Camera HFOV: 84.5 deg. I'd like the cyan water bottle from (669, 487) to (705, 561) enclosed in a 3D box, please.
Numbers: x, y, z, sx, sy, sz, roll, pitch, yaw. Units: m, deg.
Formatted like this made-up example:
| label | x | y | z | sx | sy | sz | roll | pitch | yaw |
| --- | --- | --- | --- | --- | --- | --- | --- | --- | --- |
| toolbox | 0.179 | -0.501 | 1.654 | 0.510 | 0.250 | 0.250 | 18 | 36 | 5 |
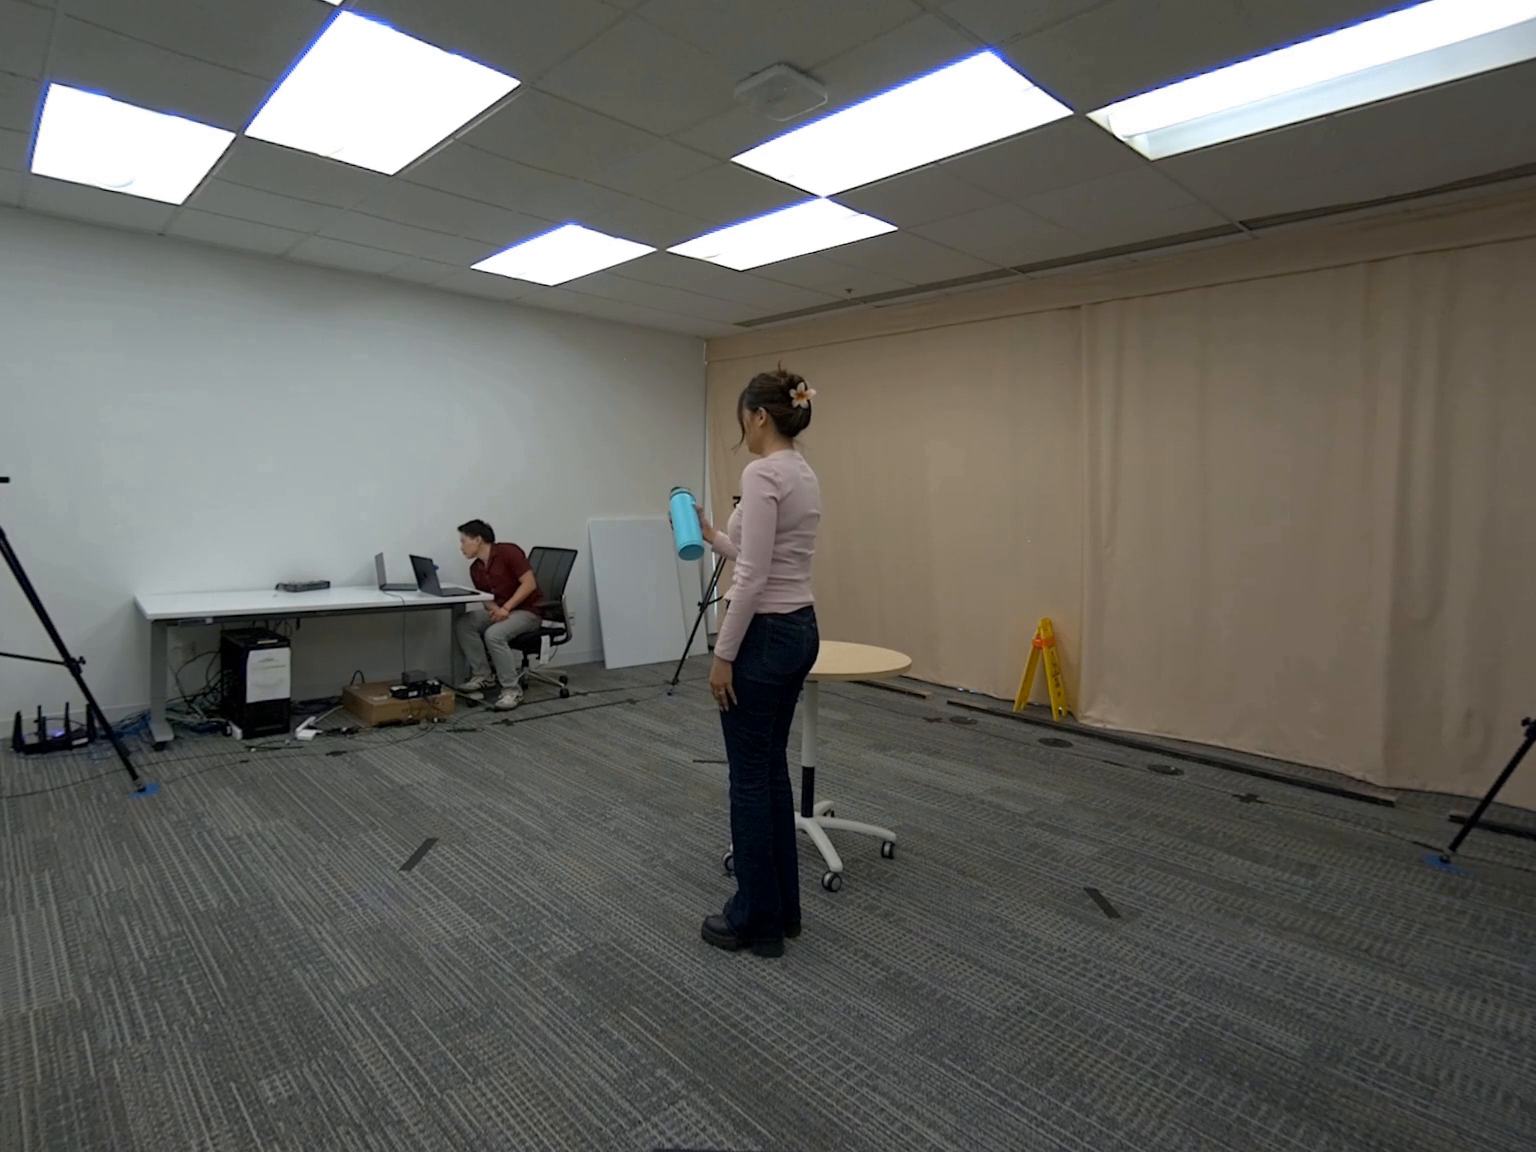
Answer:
| label | x | y | z | sx | sy | sz | roll | pitch | yaw |
| --- | --- | --- | --- | --- | --- | --- | --- | --- | --- |
| cyan water bottle | -0.277 | -0.185 | 2.817 | 0.092 | 0.291 | 0.090 | -7 | -38 | -7 |
